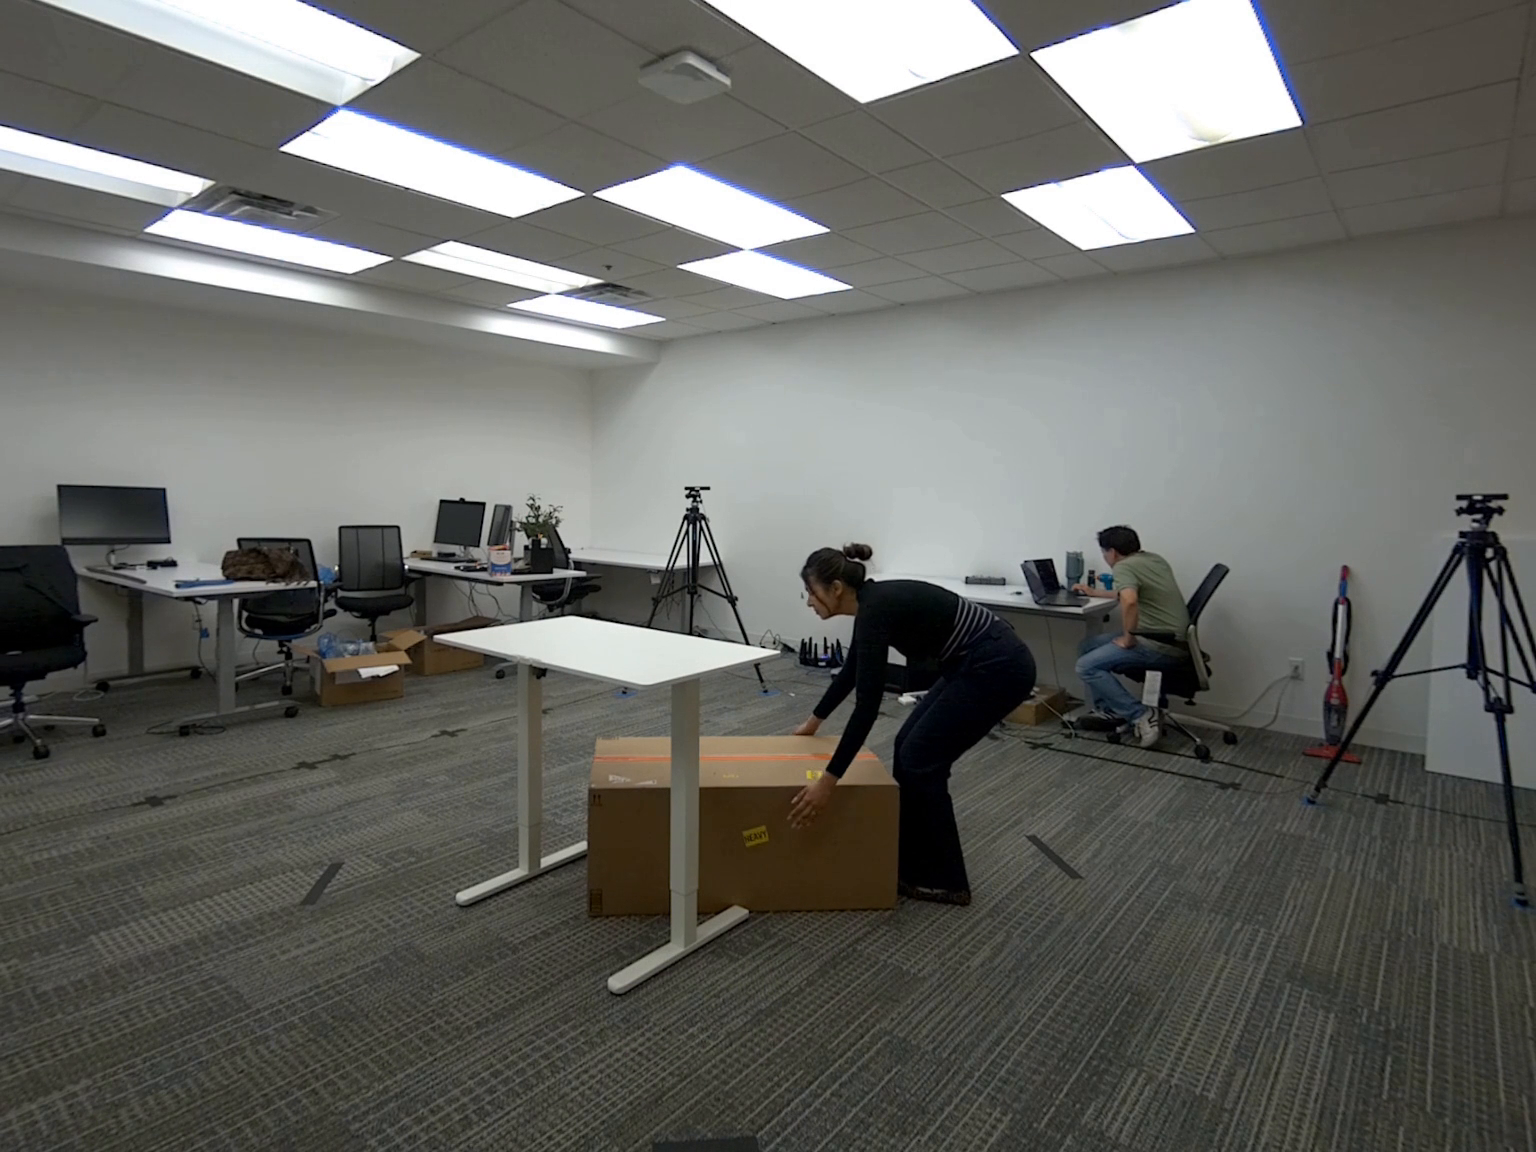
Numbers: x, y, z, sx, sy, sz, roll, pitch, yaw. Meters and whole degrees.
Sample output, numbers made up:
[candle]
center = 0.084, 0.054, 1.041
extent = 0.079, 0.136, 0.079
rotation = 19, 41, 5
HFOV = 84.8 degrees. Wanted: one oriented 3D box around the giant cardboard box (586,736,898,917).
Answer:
[giant cardboard box]
center = -0.125, 0.855, 3.054
extent = 1.020, 0.424, 0.584
rotation = 0, 5, -6
